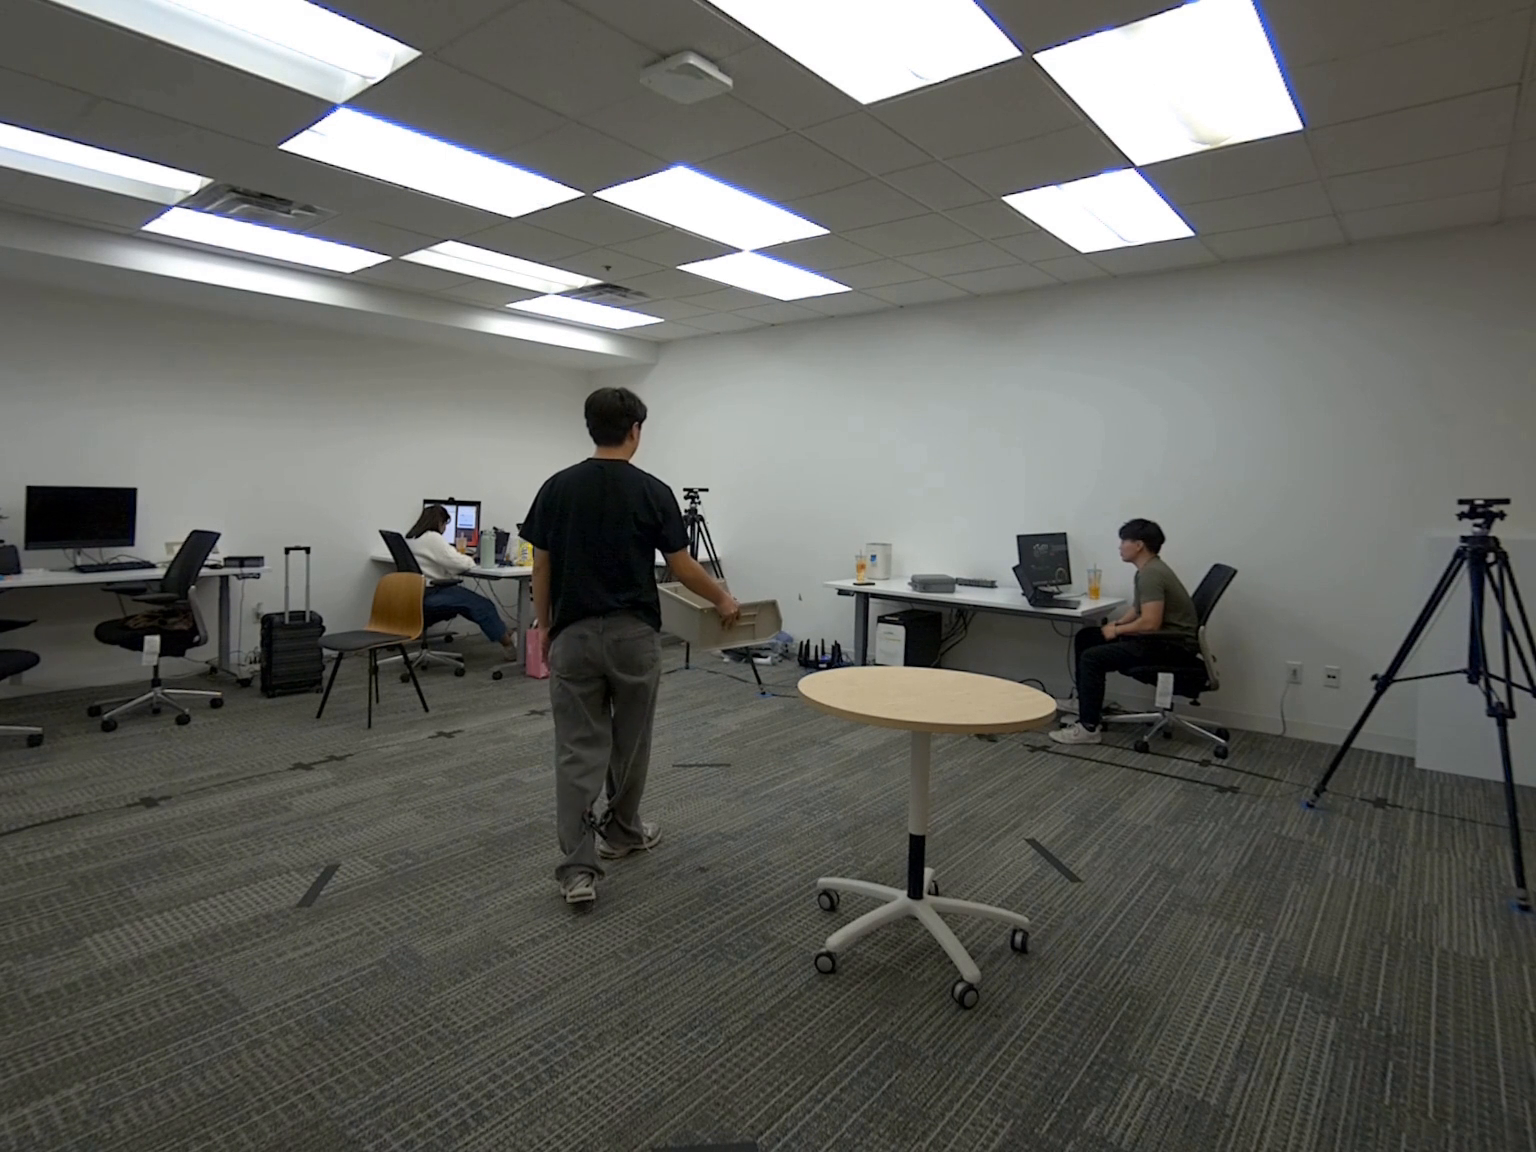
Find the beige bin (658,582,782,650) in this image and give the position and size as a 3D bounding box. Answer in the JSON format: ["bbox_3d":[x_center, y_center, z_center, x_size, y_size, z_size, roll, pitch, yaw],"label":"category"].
[{"bbox_3d":[-0.218,0.146,3.487,0.368,0.187,0.438,-7,15,-31],"label":"beige bin"}]
